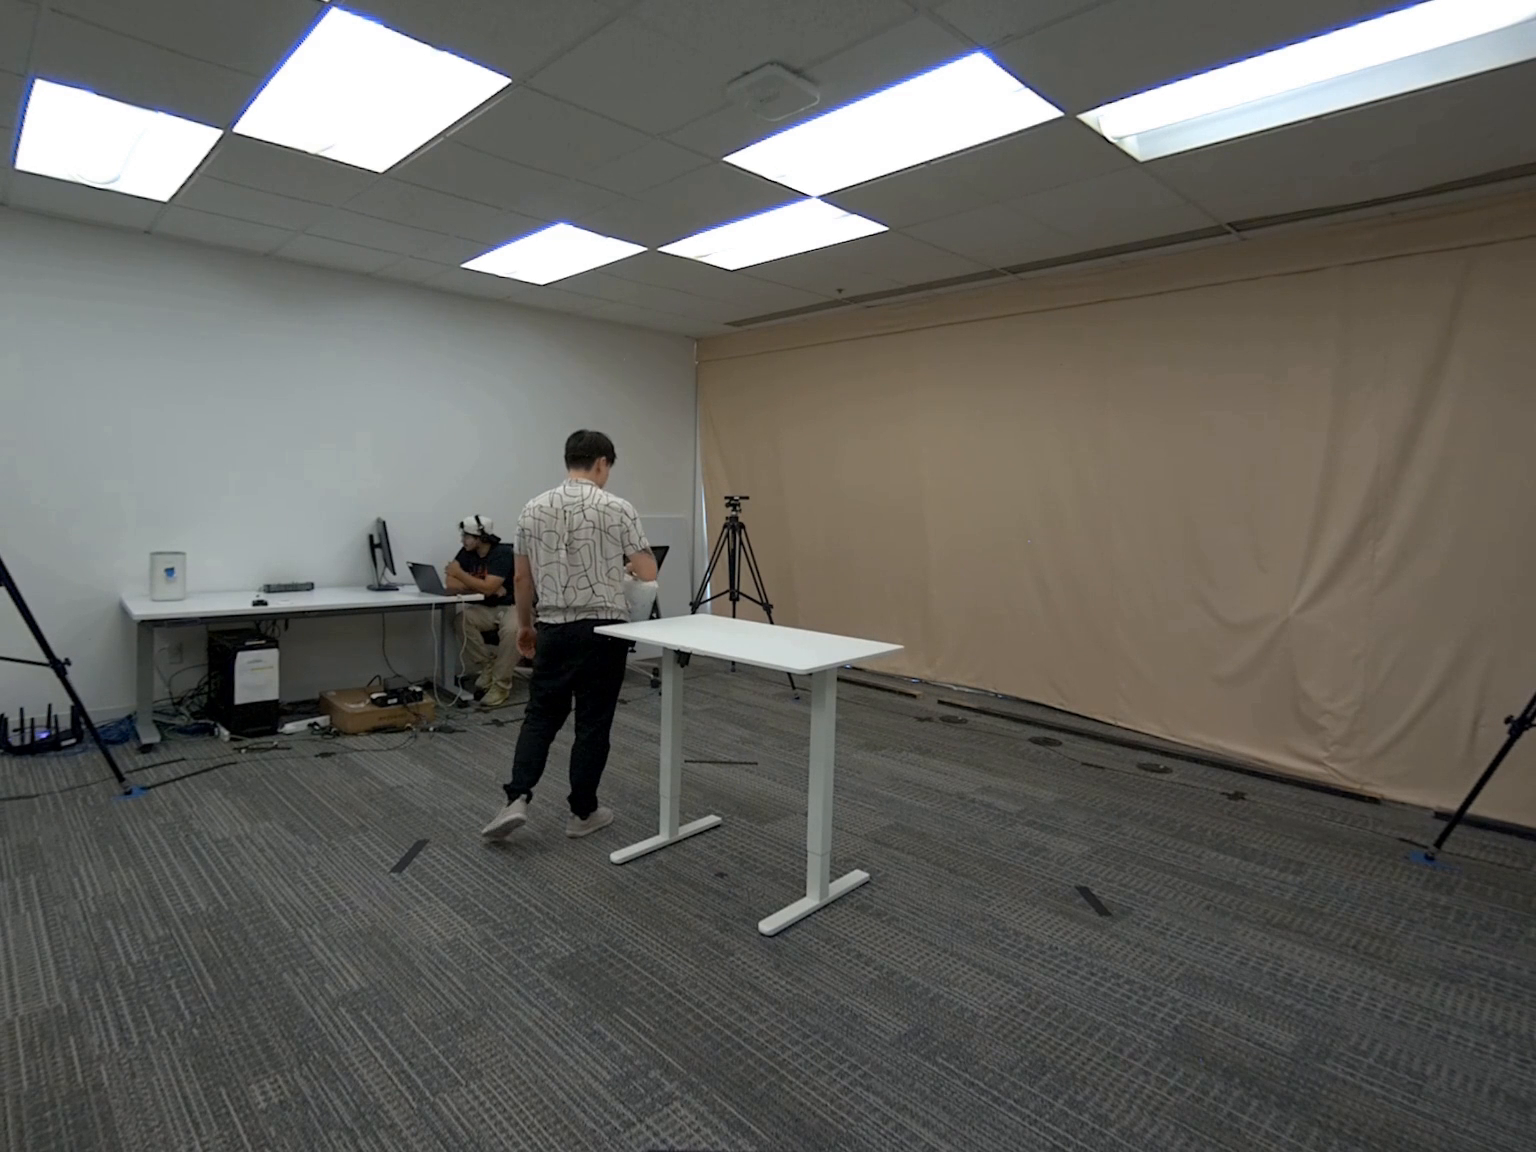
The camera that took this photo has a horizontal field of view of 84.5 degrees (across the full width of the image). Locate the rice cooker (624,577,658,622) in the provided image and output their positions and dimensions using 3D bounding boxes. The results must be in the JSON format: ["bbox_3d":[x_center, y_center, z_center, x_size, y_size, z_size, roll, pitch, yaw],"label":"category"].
[{"bbox_3d":[-0.604,0.078,3.659,0.223,0.232,0.215,18,10,12],"label":"rice cooker"}]
